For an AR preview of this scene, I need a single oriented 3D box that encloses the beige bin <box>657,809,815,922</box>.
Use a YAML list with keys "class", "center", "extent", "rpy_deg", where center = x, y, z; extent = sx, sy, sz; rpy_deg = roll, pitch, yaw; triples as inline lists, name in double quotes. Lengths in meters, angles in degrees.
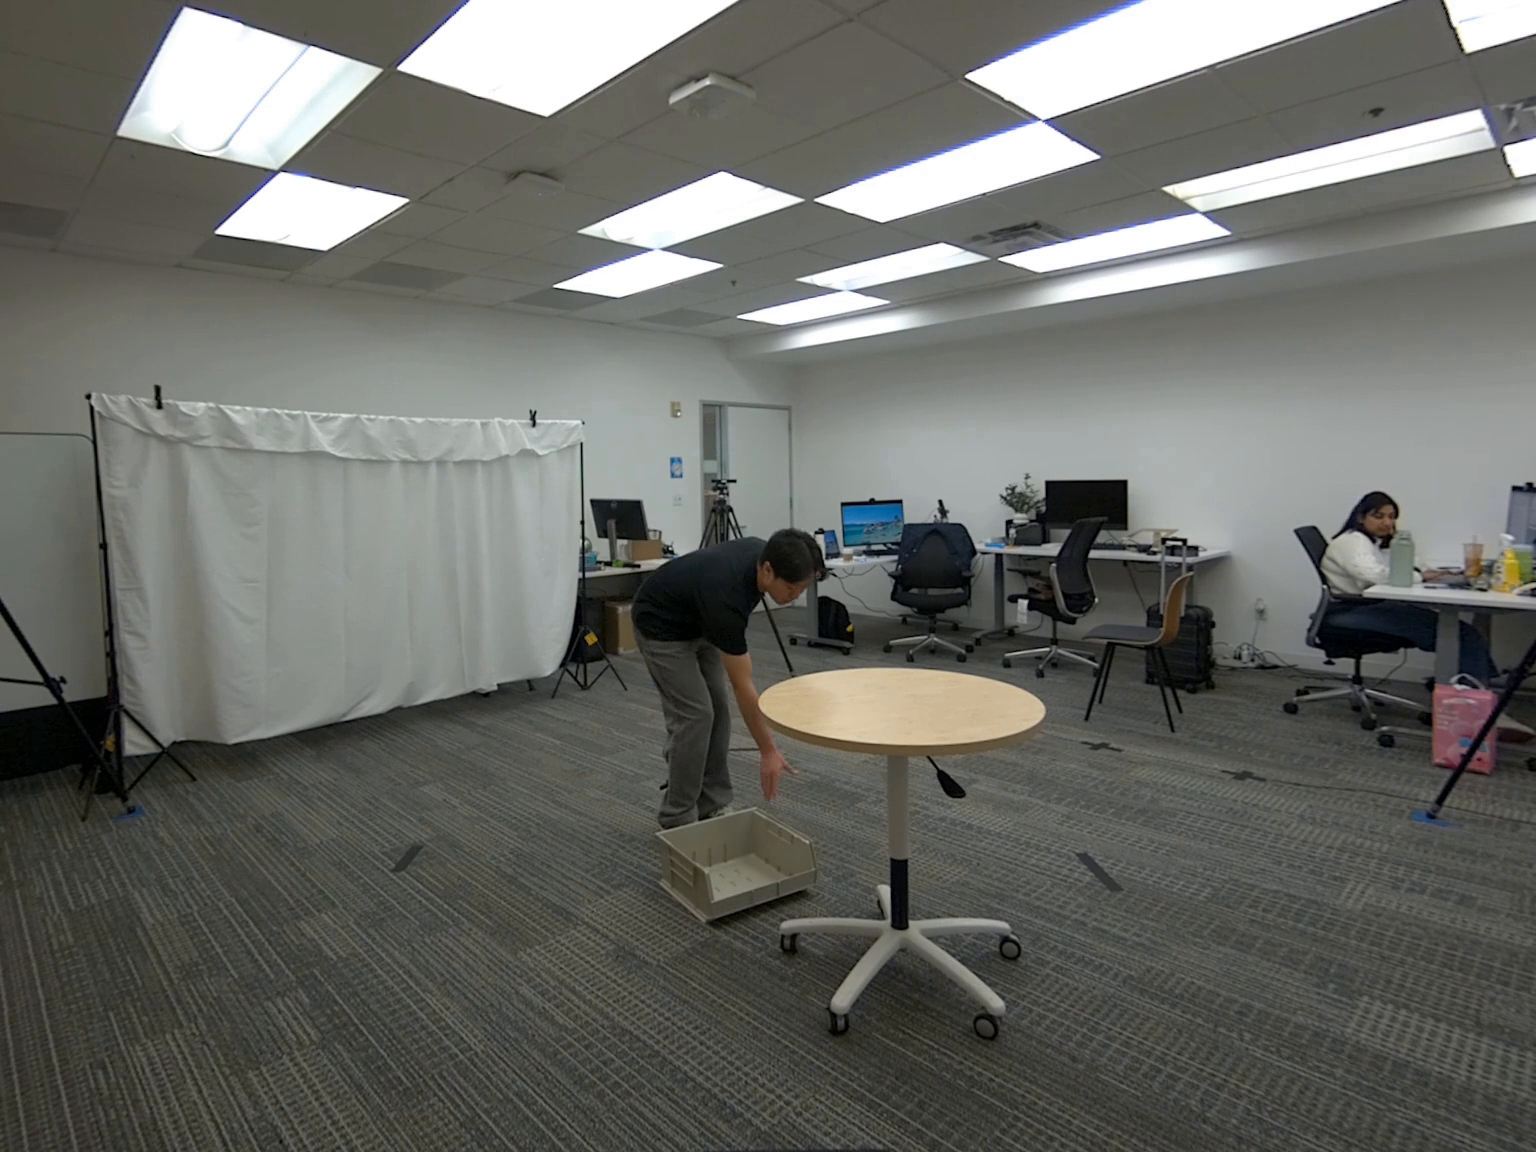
- class: "beige bin"
  center: [-0.106, 0.981, 2.911]
  extent: [0.412, 0.188, 0.388]
  rpy_deg: [-5, 6, -33]
